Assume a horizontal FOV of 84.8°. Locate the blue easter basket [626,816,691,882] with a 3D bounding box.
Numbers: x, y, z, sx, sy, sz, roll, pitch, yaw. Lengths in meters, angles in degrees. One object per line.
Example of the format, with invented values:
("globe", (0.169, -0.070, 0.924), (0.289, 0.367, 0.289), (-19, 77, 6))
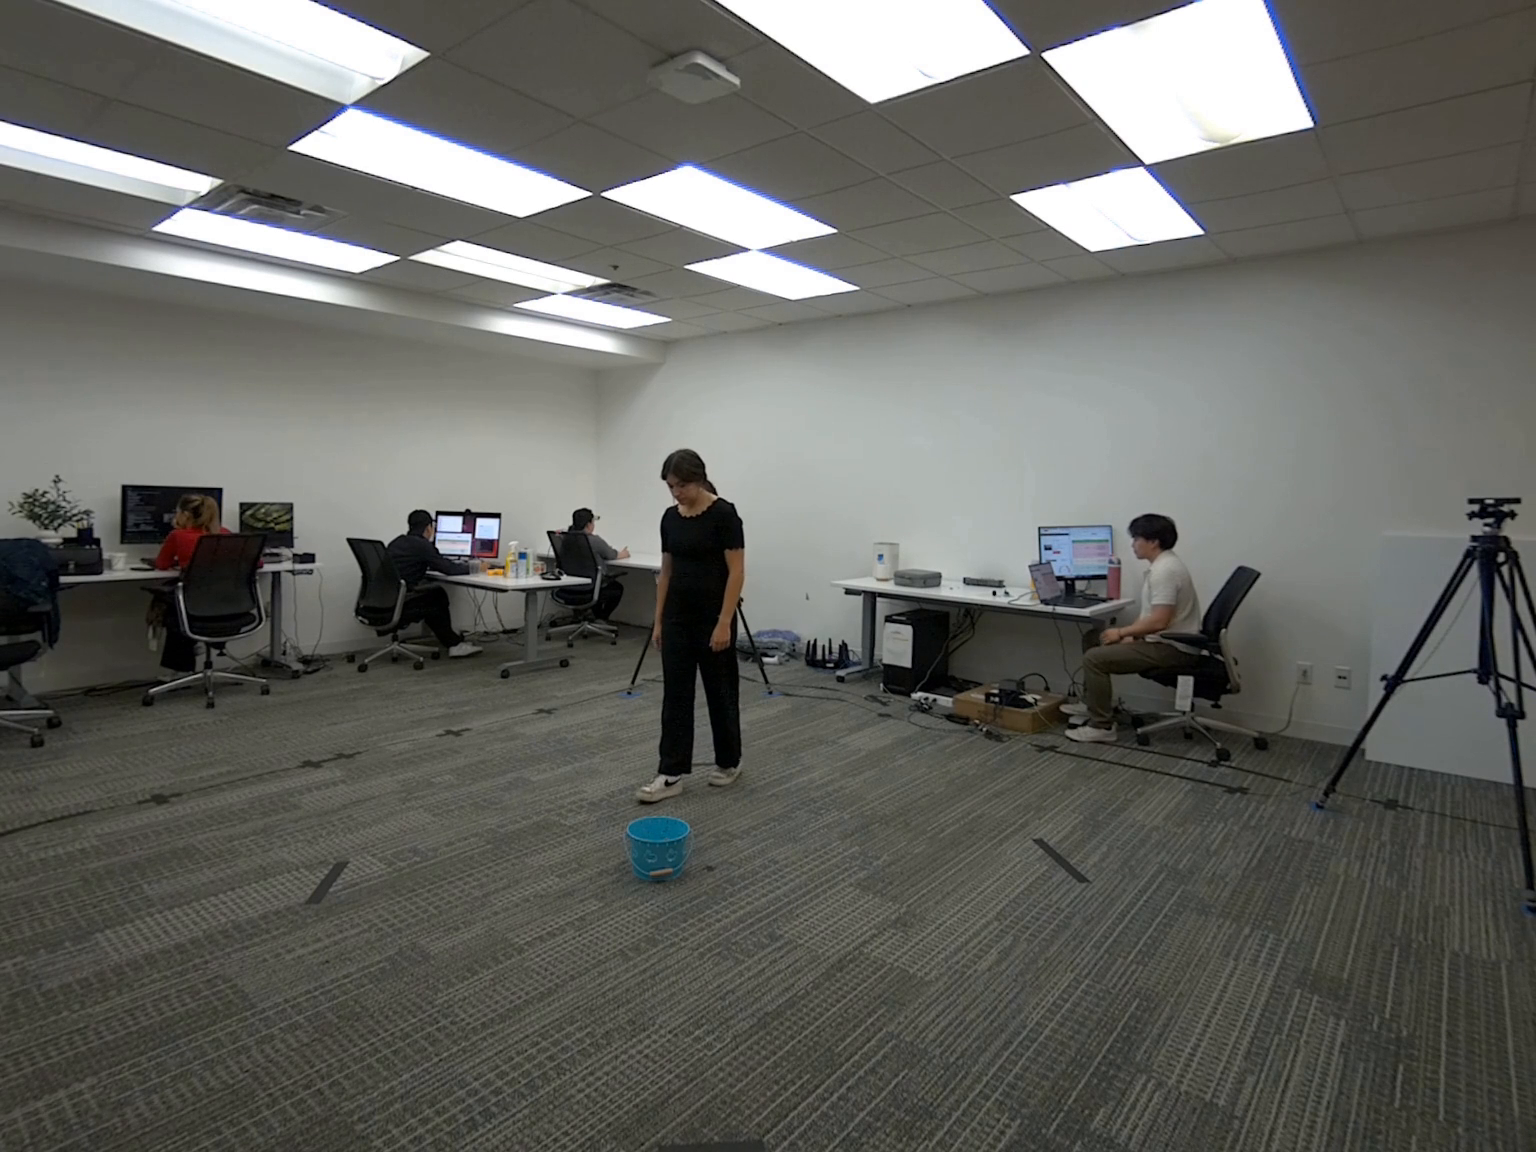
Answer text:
("blue easter basket", (-0.412, 0.987, 3.081), (0.243, 0.155, 0.245), (0, 5, -2))
